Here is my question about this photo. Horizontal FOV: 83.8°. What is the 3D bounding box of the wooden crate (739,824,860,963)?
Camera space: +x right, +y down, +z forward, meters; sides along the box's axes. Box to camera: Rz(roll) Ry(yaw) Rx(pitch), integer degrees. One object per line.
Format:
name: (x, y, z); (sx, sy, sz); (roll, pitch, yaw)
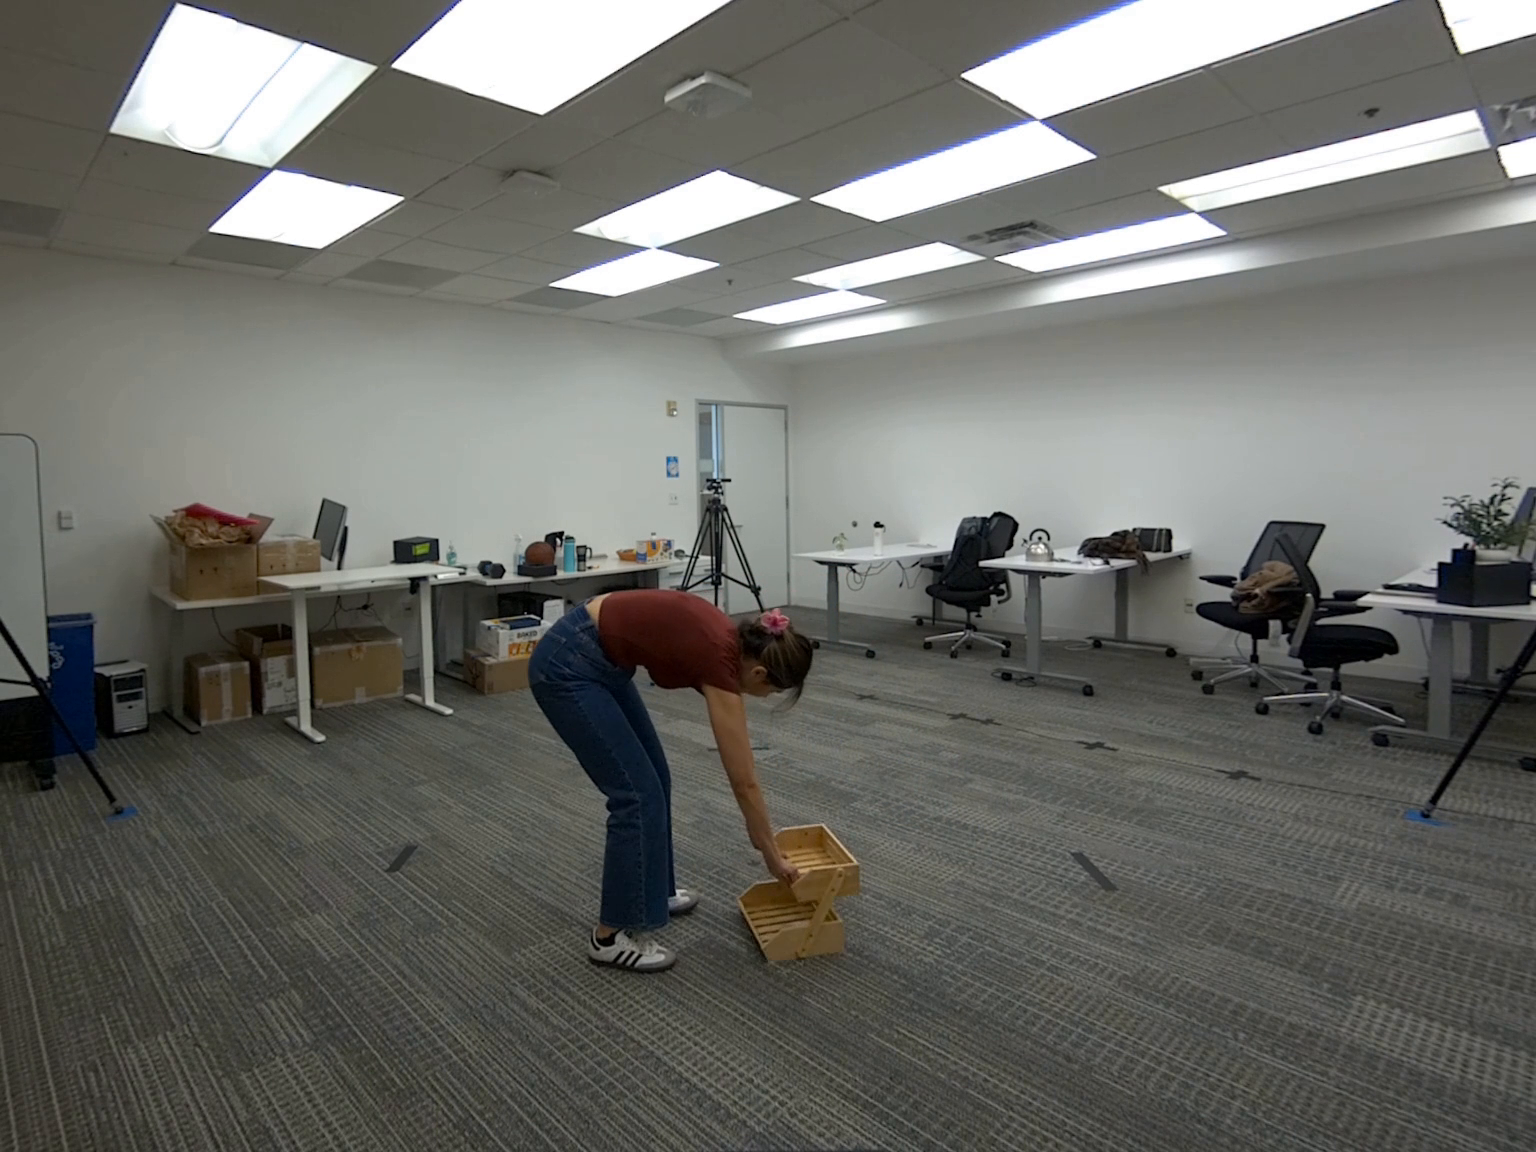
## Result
wooden crate: (0.081, 0.961, 2.631); (0.298, 0.272, 0.331); (-2, 6, -16)
